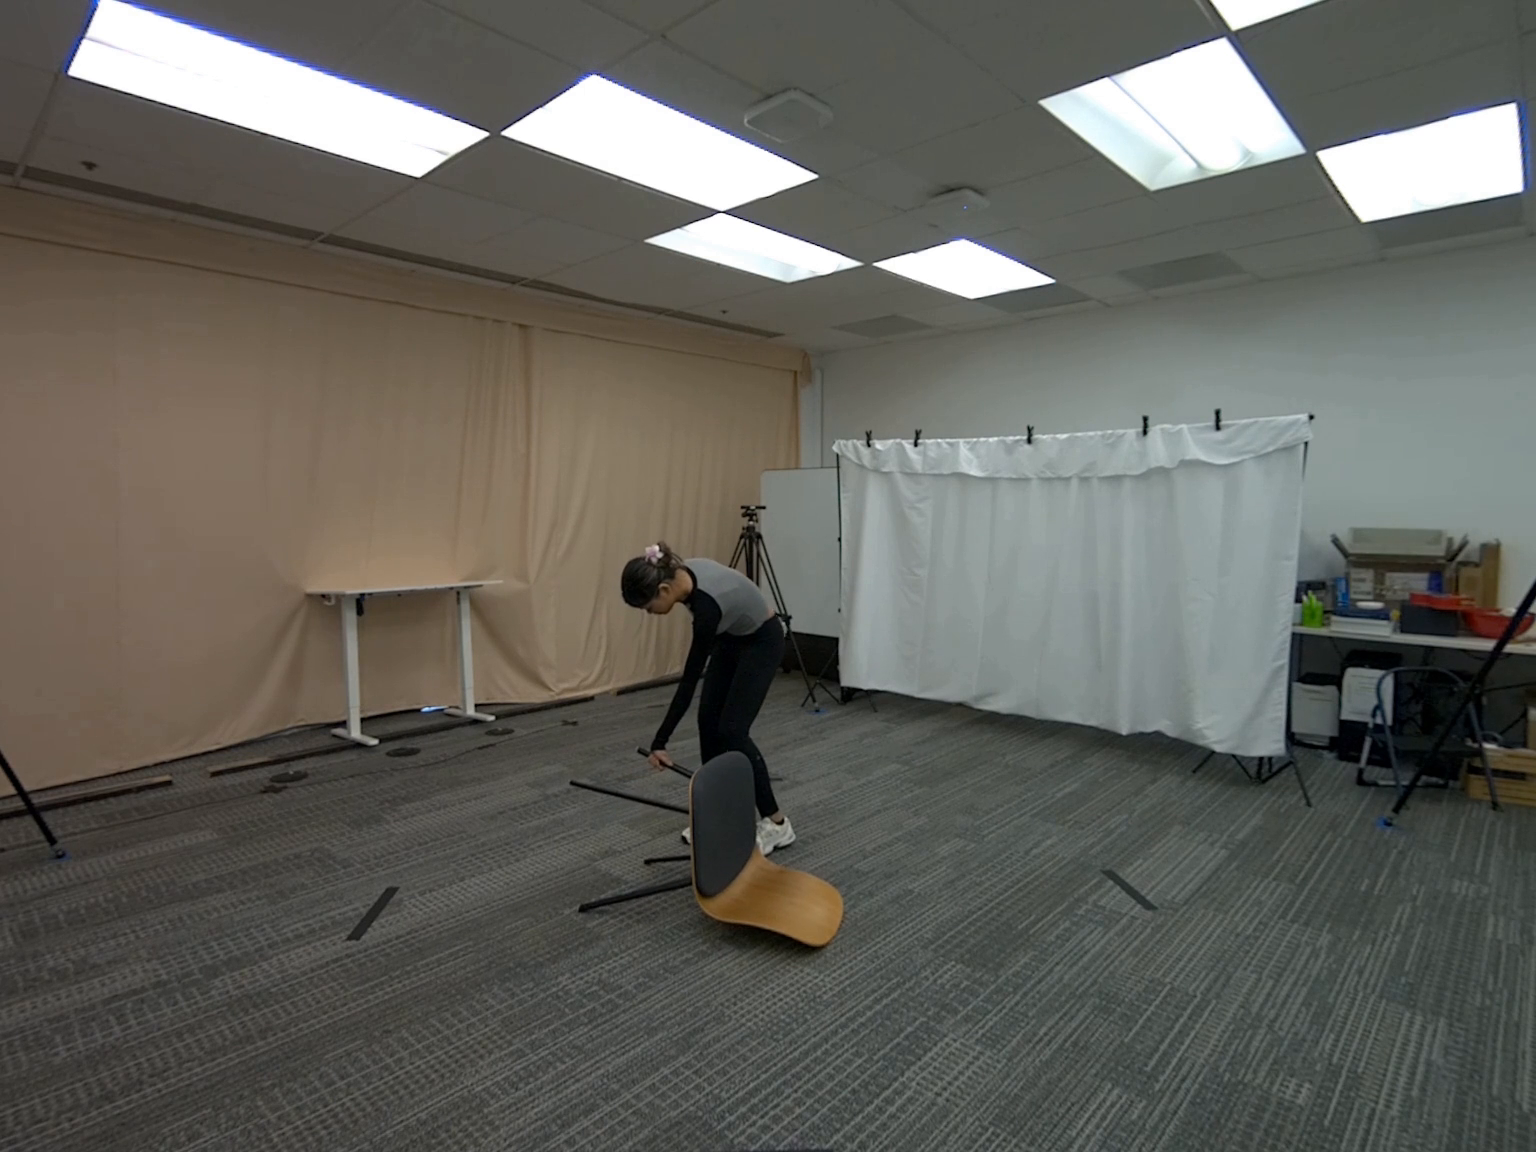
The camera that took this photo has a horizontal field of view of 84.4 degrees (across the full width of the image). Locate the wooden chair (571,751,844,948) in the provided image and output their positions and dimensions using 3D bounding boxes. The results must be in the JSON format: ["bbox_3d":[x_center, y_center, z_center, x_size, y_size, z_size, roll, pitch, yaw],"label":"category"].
[{"bbox_3d":[-0.185,0.892,2.897,0.900,0.522,0.467,3,4,26],"label":"wooden chair"}]
